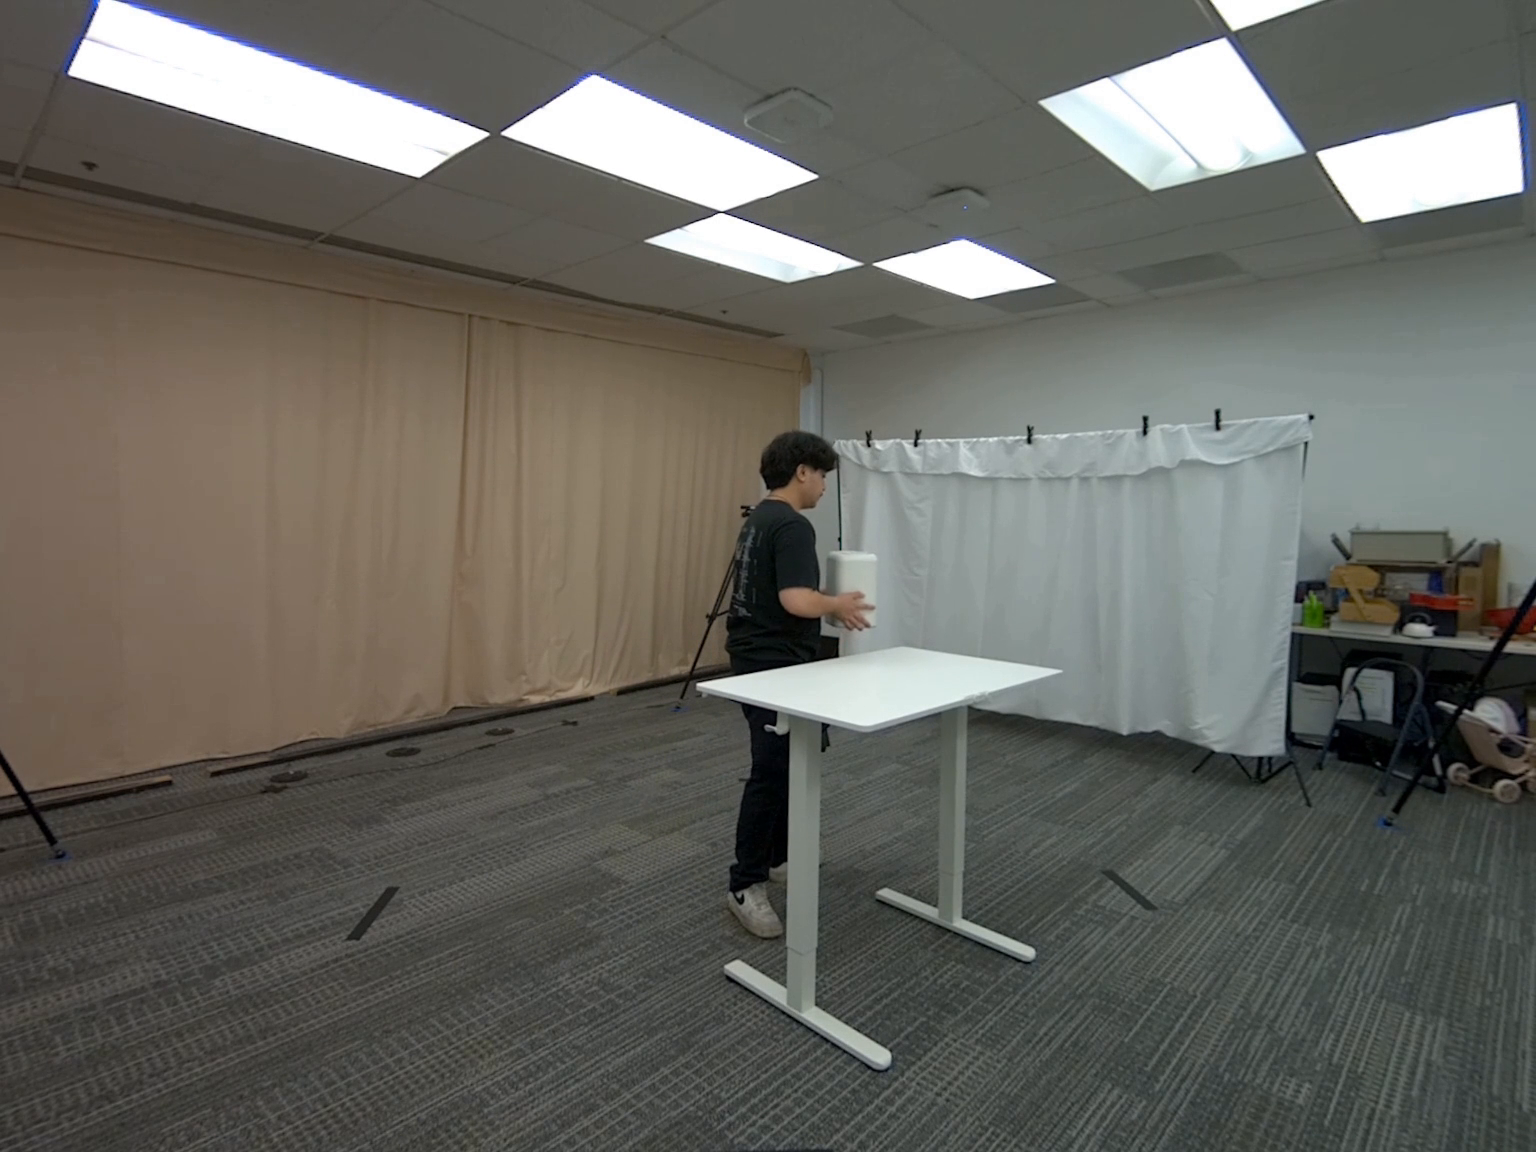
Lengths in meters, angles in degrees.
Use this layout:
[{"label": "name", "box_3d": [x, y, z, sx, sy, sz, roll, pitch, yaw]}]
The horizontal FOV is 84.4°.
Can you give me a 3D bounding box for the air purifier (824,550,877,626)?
[{"label": "air purifier", "box_3d": [0.306, 0.045, 3.083, 0.169, 0.265, 0.174, 1, 4, -9]}]
